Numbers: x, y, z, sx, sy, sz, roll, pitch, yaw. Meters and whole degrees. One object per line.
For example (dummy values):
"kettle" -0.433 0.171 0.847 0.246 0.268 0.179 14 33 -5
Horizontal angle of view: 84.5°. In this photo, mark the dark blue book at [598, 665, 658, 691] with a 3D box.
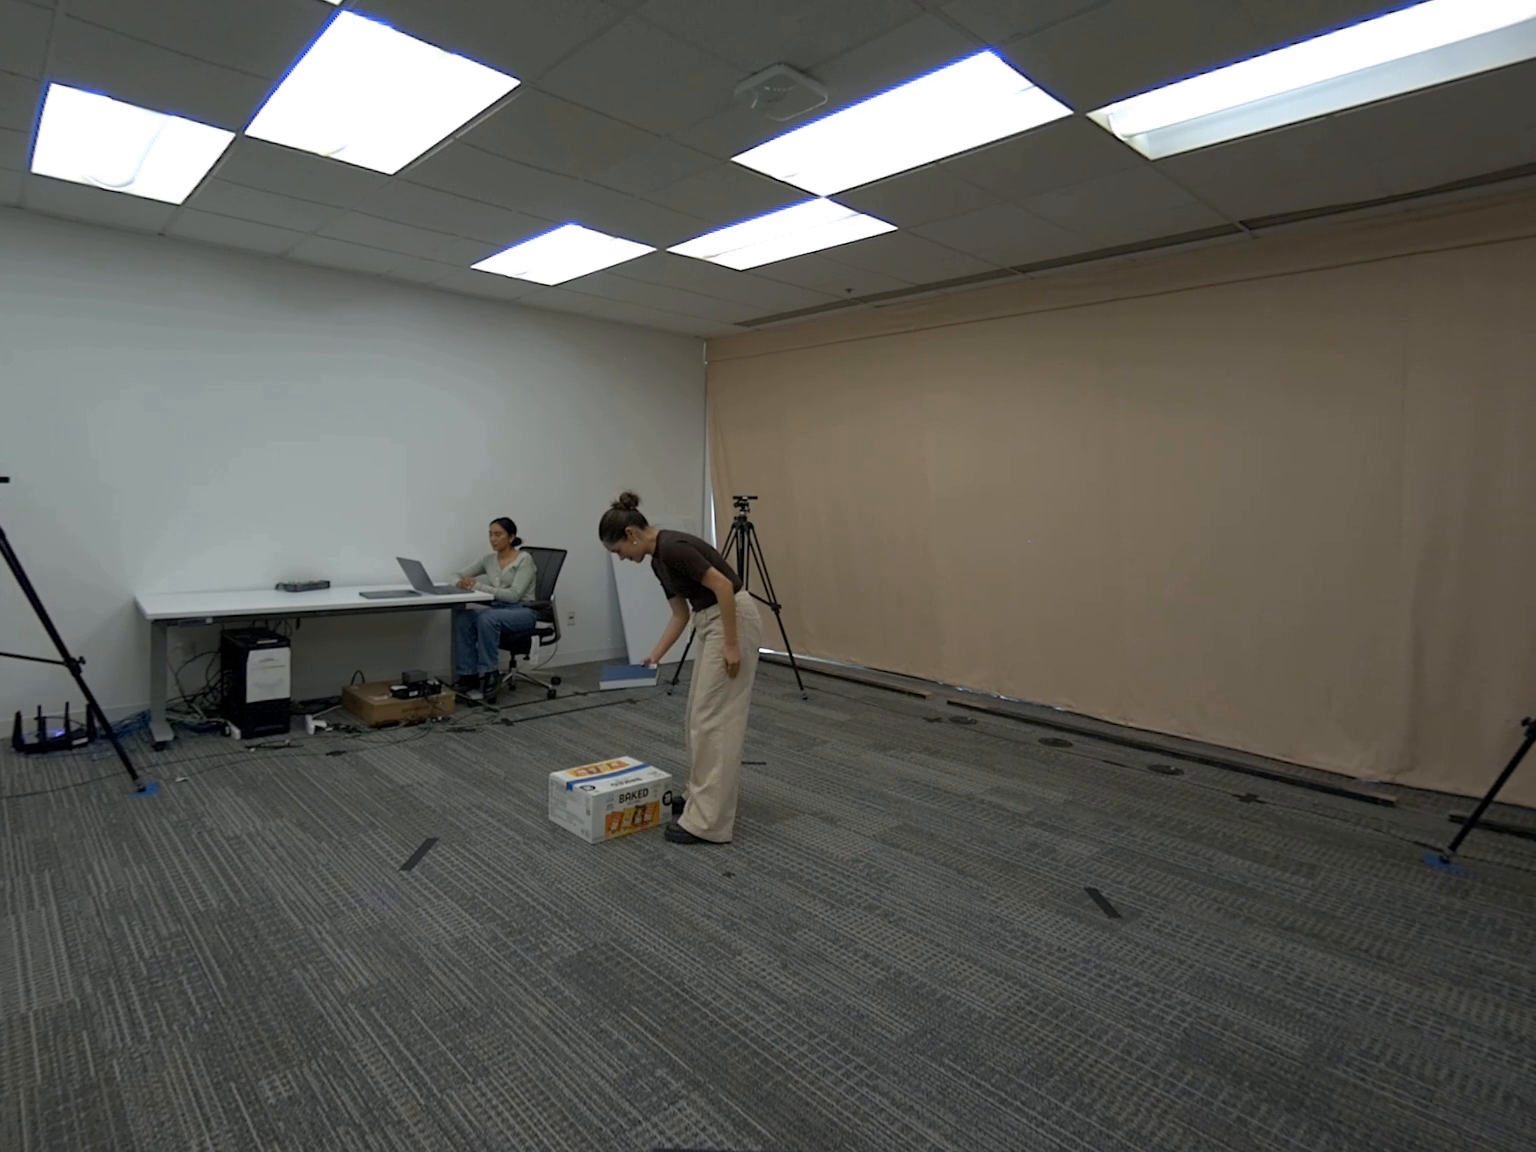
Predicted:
"dark blue book" -0.603 0.419 3.573 0.246 0.045 0.164 -3 13 5
